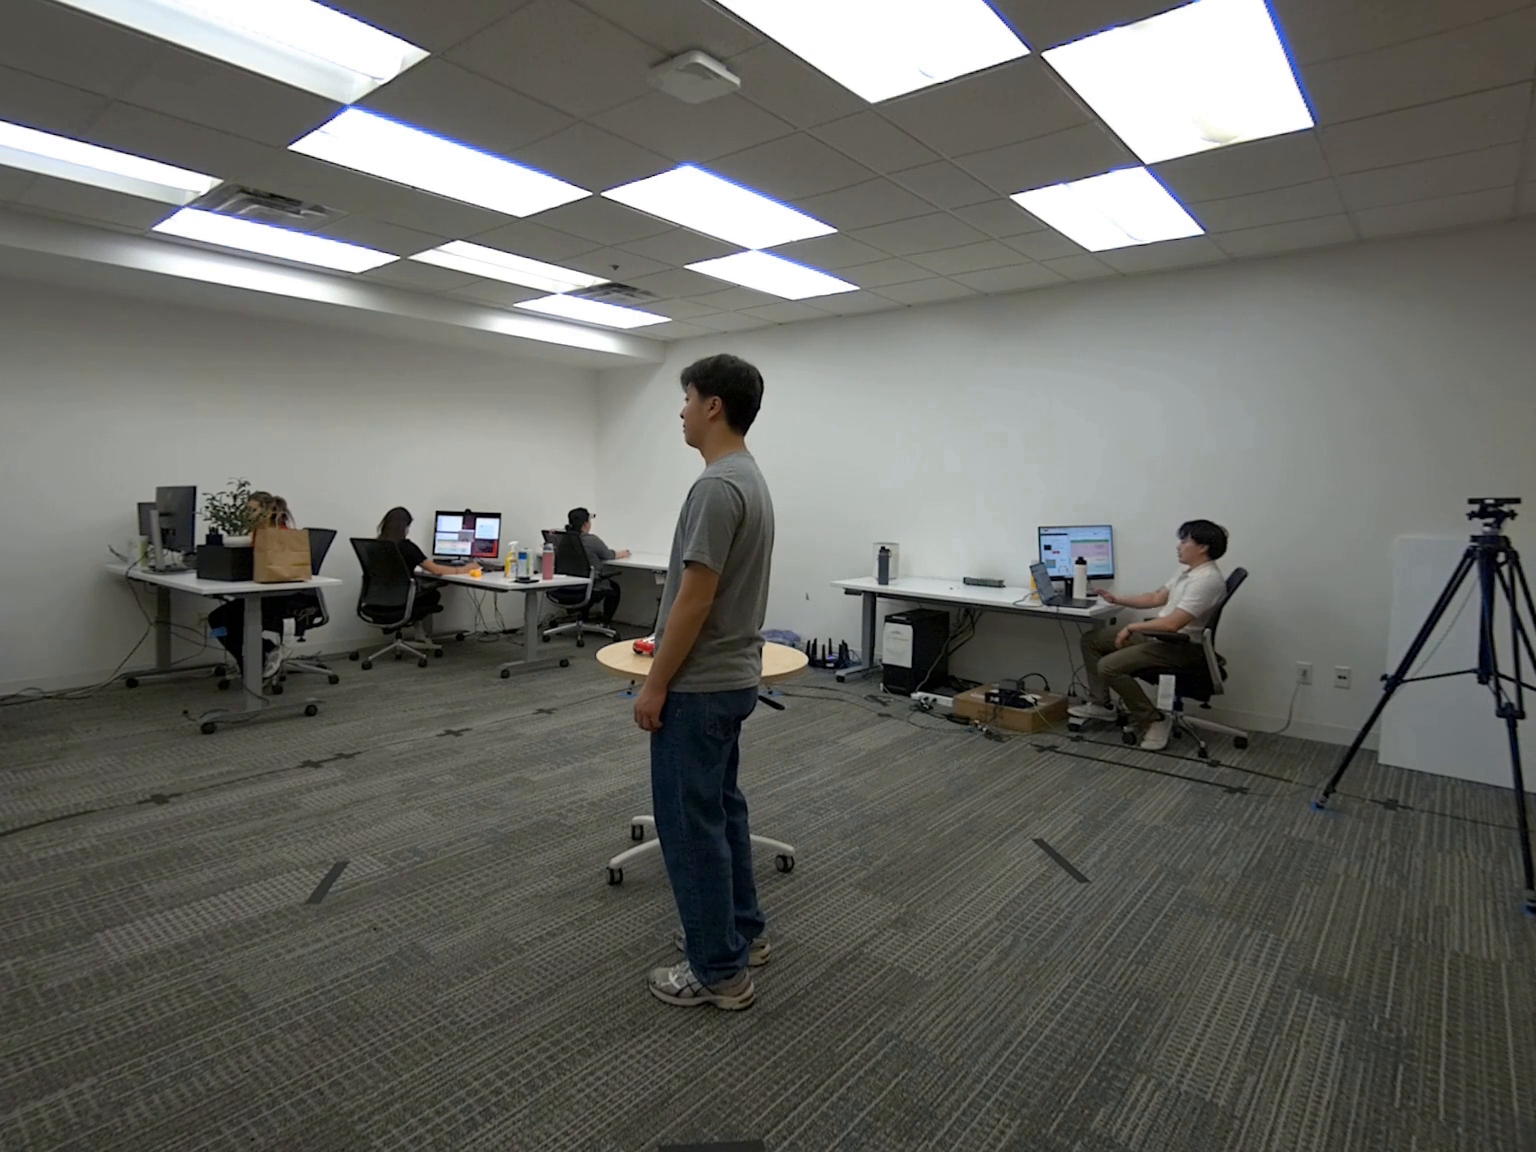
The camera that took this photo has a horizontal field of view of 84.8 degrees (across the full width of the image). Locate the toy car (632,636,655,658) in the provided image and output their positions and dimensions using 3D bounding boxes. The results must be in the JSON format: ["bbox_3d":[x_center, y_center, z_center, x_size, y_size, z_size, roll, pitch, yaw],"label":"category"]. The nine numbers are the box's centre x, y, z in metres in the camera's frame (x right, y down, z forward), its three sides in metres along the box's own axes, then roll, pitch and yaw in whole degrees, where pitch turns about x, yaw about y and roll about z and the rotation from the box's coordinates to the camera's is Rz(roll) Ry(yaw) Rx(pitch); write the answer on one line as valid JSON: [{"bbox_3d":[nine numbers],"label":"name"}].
[{"bbox_3d":[-0.386,0.246,3.131,0.135,0.082,0.249,5,18,40],"label":"toy car"}]
